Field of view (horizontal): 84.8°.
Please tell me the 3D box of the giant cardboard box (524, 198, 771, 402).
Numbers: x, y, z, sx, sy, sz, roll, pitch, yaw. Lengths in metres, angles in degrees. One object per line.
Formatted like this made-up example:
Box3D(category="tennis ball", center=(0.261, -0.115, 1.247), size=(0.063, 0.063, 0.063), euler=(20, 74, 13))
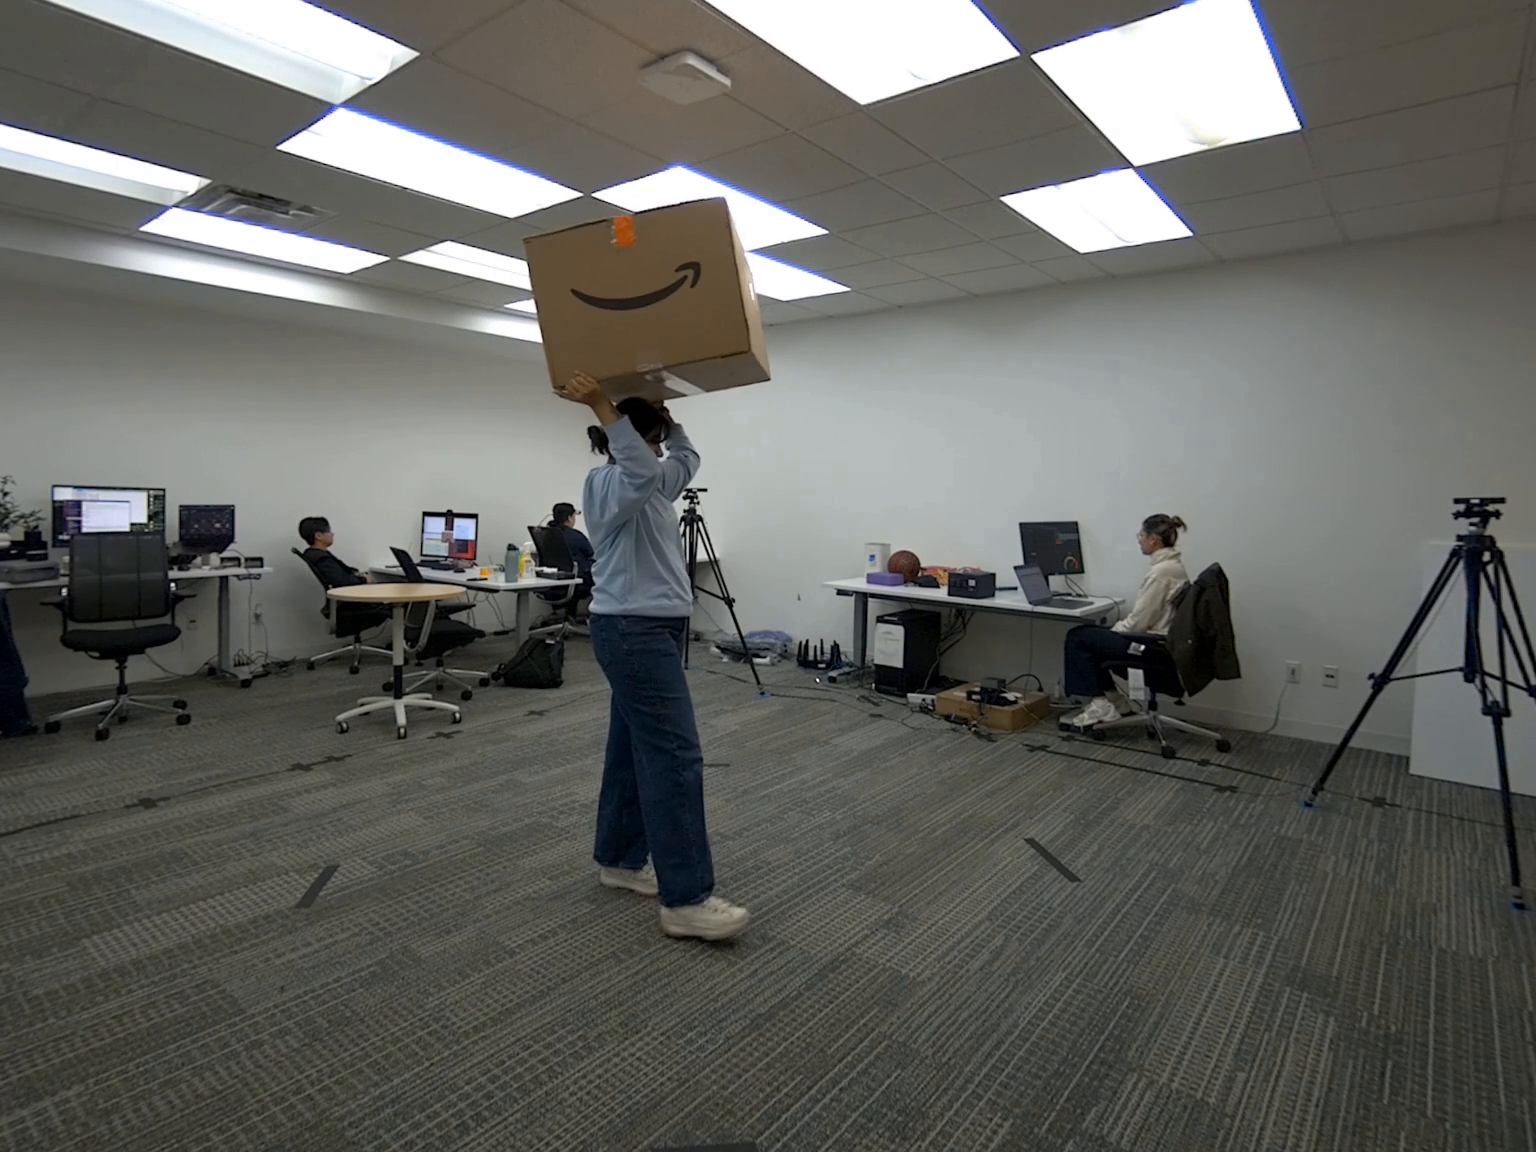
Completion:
Box3D(category="giant cardboard box", center=(-0.342, -0.848, 2.825), size=(0.581, 0.423, 1.026), euler=(-9, 7, 5))
